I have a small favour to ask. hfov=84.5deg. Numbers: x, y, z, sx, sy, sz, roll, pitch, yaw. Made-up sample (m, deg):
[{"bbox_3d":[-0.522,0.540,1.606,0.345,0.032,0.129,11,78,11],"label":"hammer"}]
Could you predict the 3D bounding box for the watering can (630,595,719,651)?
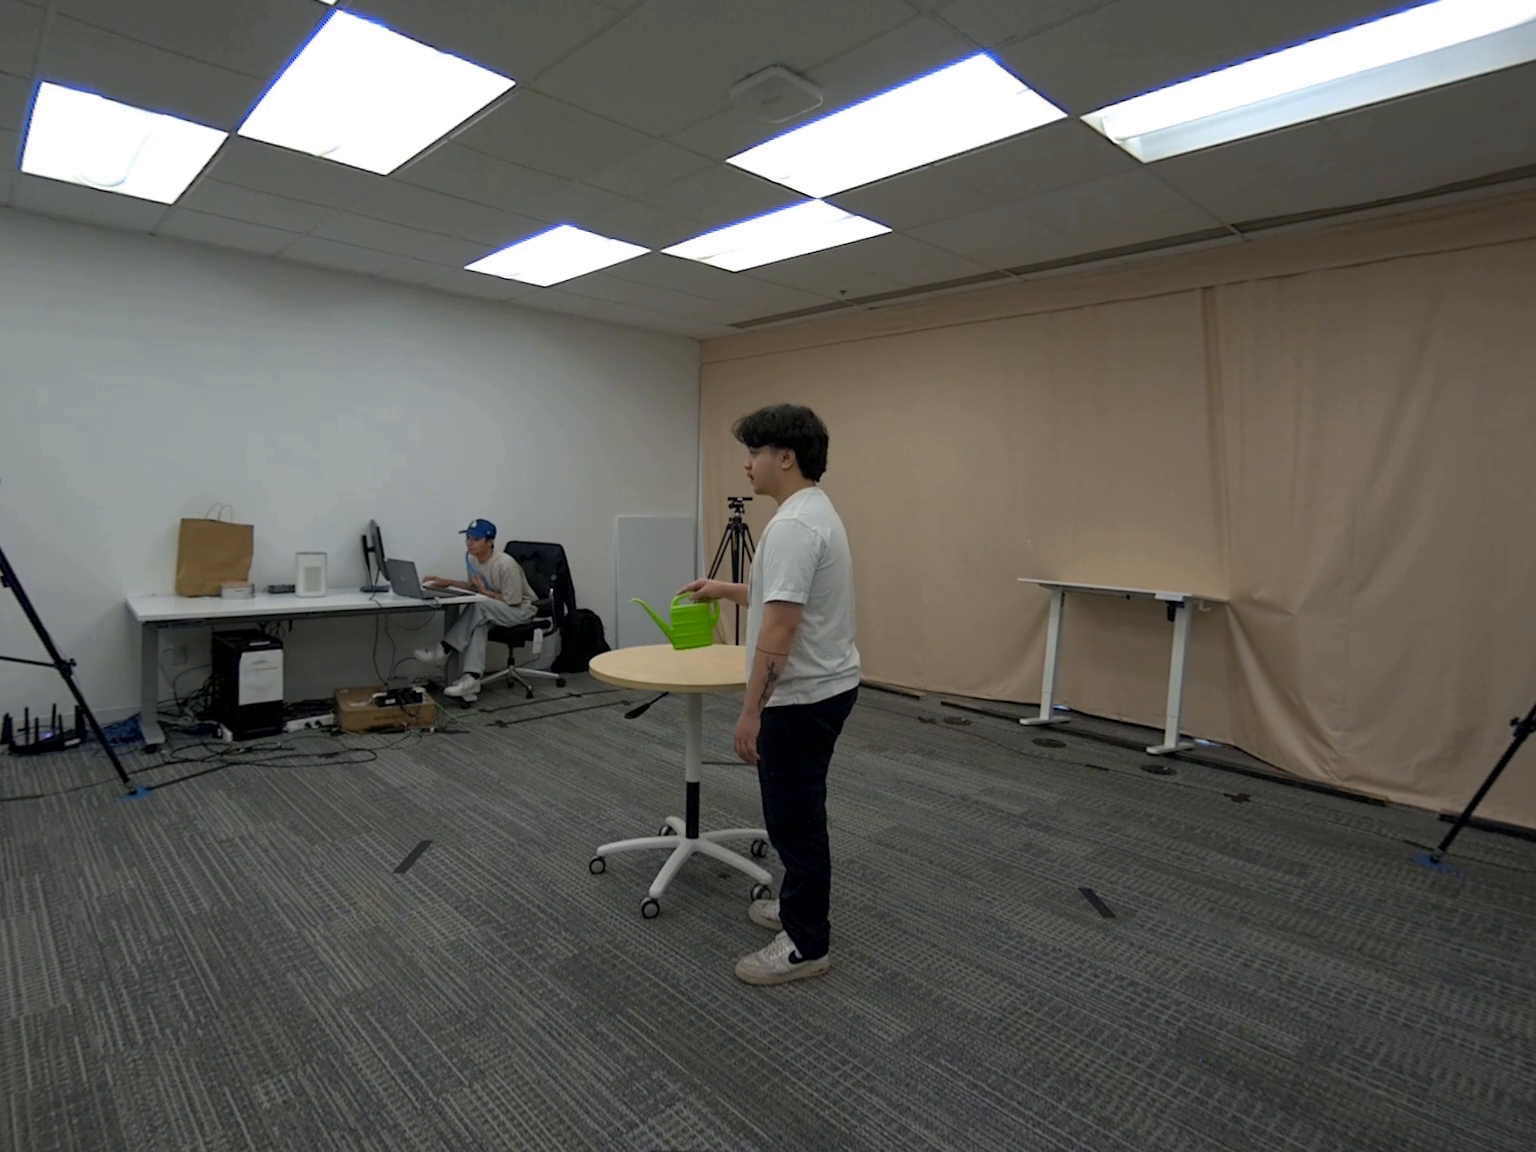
[{"bbox_3d":[-0.288,0.148,2.662,0.279,0.177,0.097,-6,-5,2],"label":"watering can"}]
